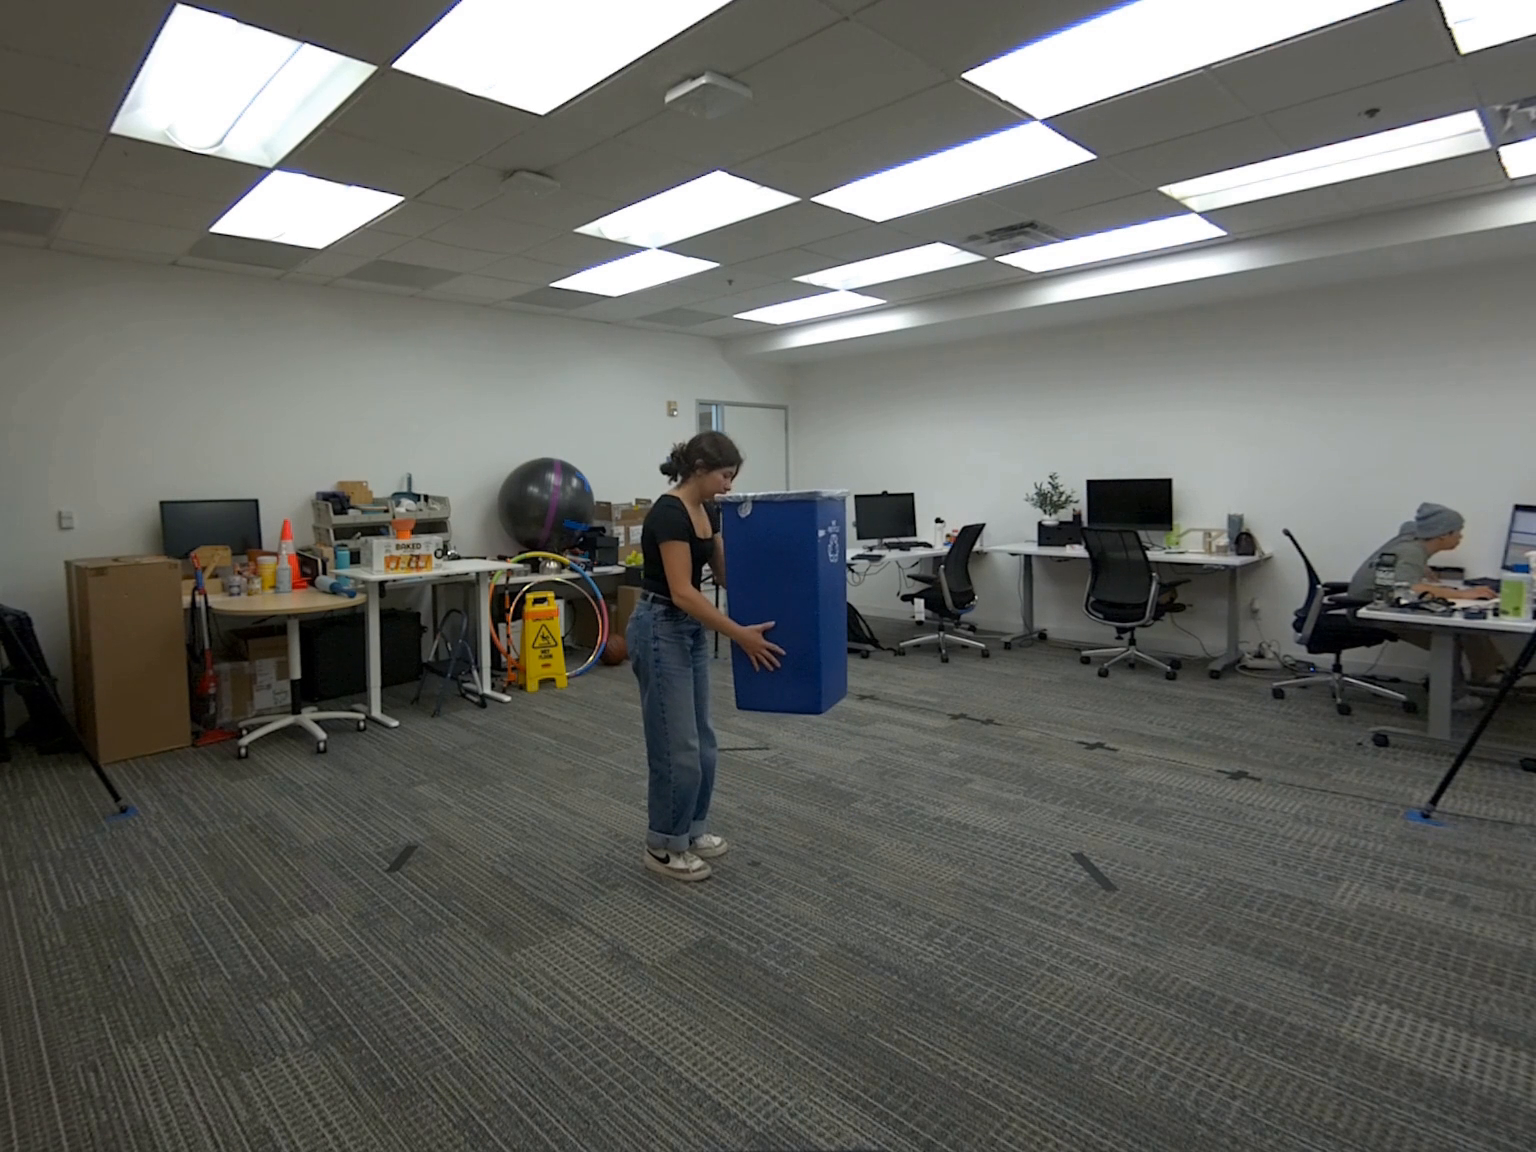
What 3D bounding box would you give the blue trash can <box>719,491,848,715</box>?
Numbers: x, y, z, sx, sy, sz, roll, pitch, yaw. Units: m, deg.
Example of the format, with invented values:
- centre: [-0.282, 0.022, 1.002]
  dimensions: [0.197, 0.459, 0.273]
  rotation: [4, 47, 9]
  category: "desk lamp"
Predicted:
- centre: [0.071, 0.078, 2.894]
  dimensions: [0.386, 0.711, 0.367]
  rotation: [-1, 3, 23]
  category: "blue trash can"
